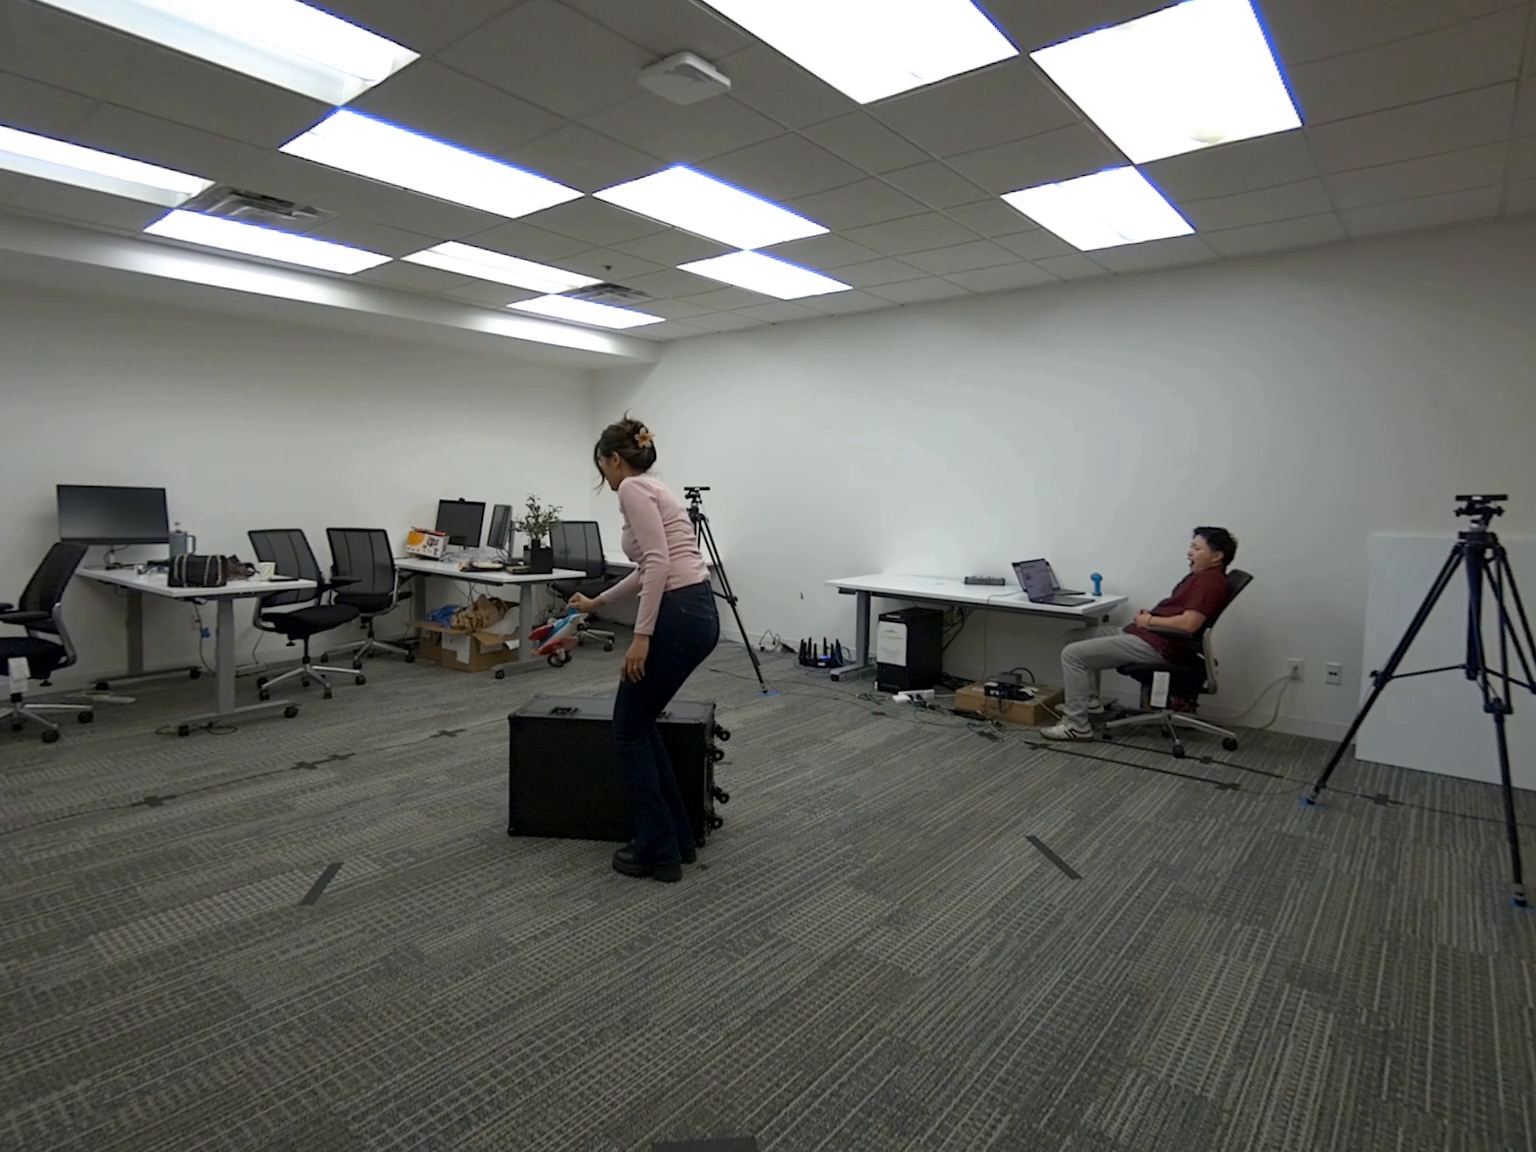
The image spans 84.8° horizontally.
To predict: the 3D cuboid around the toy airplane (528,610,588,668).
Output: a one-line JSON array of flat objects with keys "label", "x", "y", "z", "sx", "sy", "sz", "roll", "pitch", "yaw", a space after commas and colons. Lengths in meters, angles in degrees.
[{"label": "toy airplane", "x": -0.870, "y": 0.244, "z": 3.559, "sx": 0.160, "sy": 0.259, "sz": 0.245, "roll": 38, "pitch": -15, "yaw": 14}]
